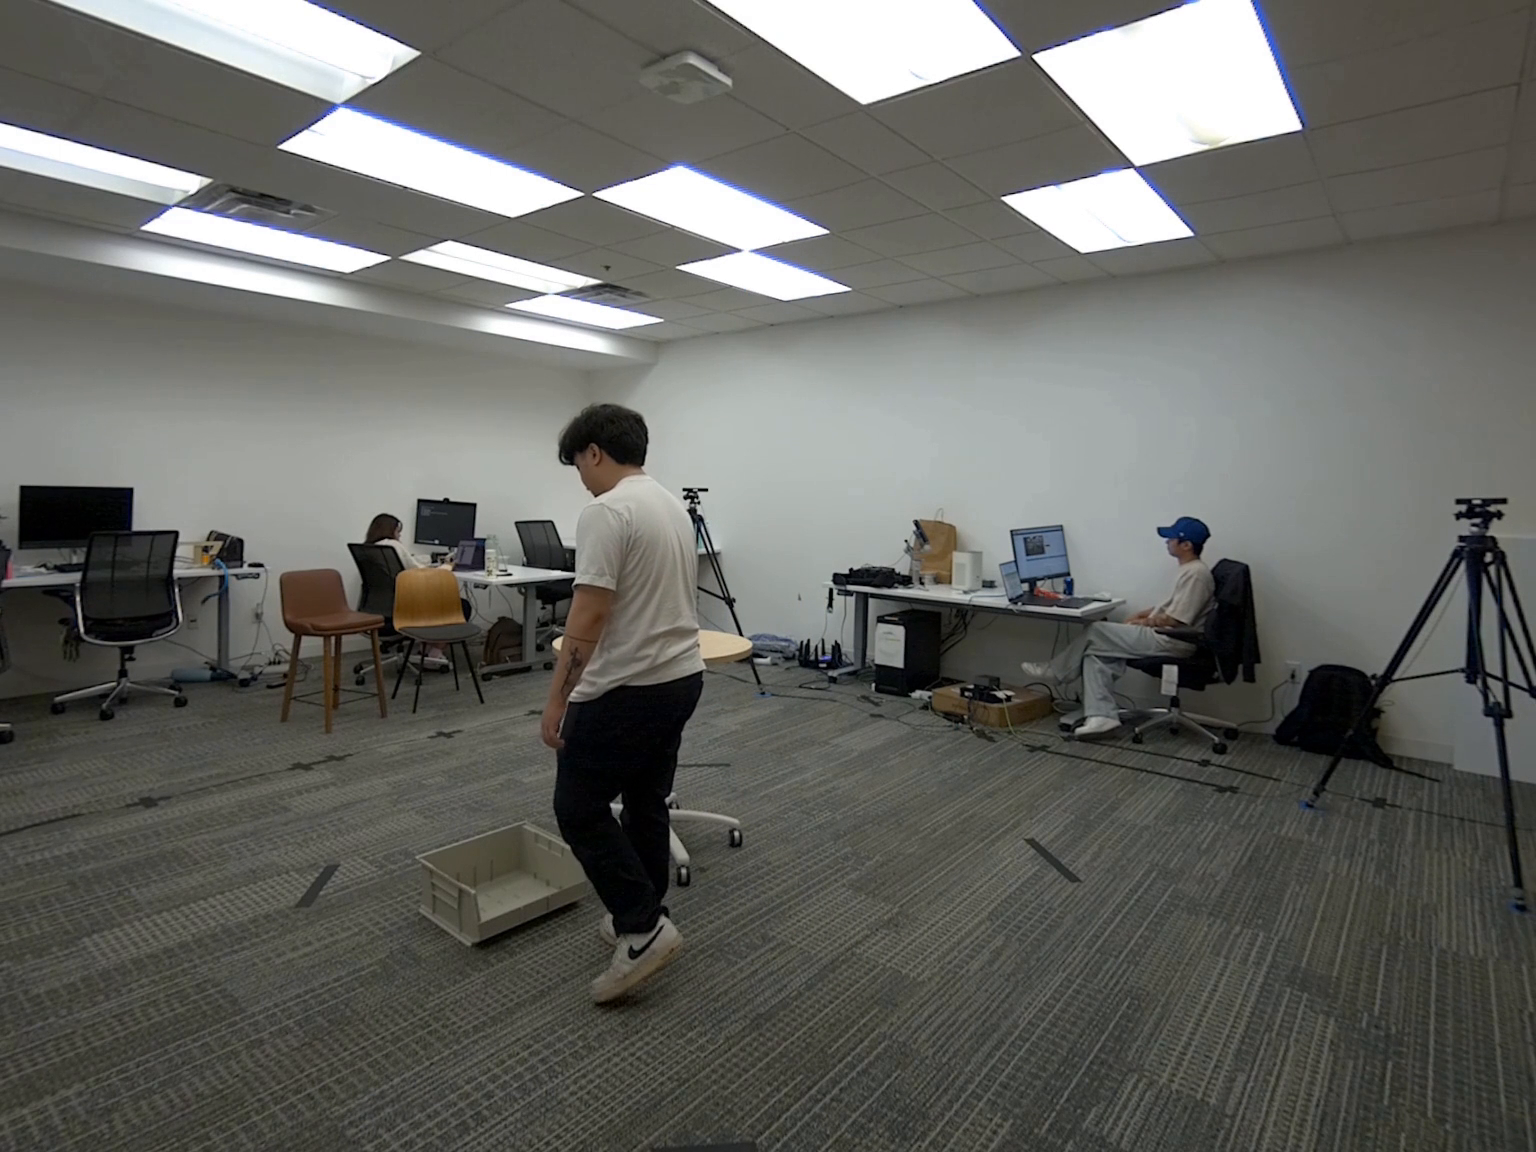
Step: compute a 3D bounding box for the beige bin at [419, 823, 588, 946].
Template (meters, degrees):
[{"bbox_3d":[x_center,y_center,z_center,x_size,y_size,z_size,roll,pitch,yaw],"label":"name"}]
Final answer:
[{"bbox_3d":[-0.881,1.002,2.793,0.390,0.188,0.410,4,6,41],"label":"beige bin"}]
